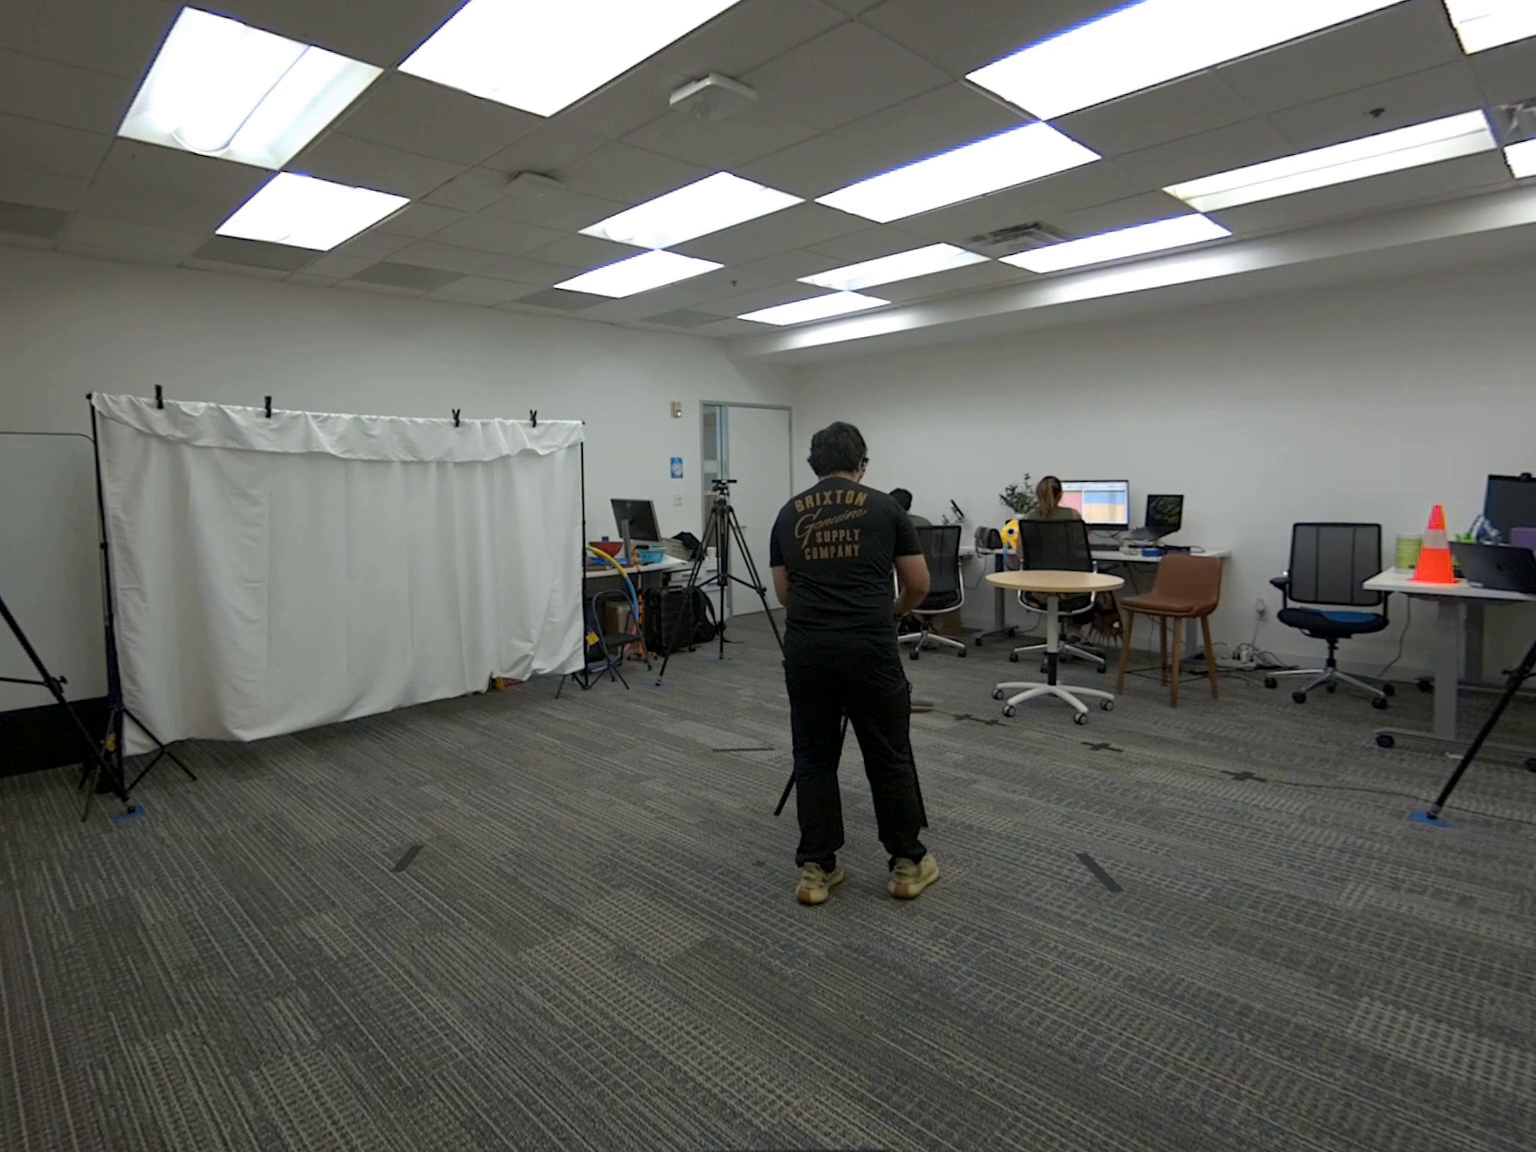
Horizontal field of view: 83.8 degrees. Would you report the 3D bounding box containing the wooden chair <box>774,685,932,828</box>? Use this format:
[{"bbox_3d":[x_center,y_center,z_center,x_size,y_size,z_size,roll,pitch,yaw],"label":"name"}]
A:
[{"bbox_3d":[0.378,0.543,3.411,0.491,0.880,0.507,1,-4,33],"label":"wooden chair"}]
